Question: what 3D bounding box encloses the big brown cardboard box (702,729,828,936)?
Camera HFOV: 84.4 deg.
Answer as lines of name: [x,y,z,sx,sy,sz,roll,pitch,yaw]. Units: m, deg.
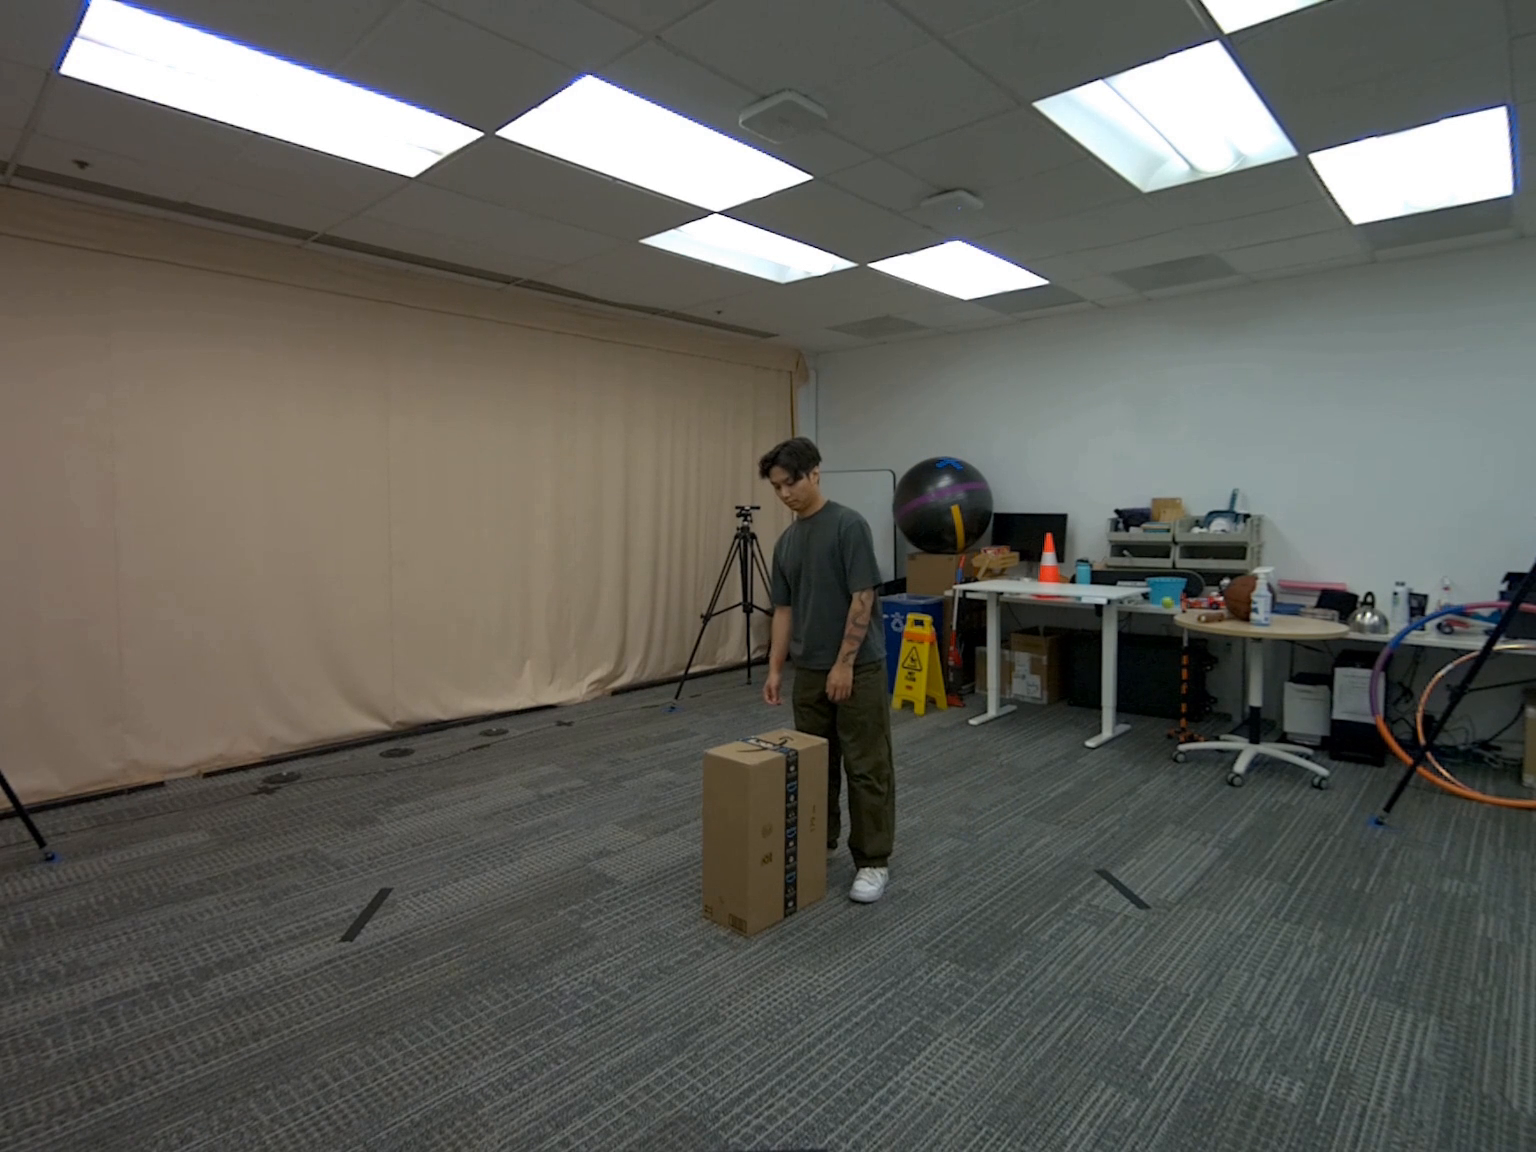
big brown cardboard box: [-0.006,0.862,2.919,0.241,0.588,0.404,2,2,43]
